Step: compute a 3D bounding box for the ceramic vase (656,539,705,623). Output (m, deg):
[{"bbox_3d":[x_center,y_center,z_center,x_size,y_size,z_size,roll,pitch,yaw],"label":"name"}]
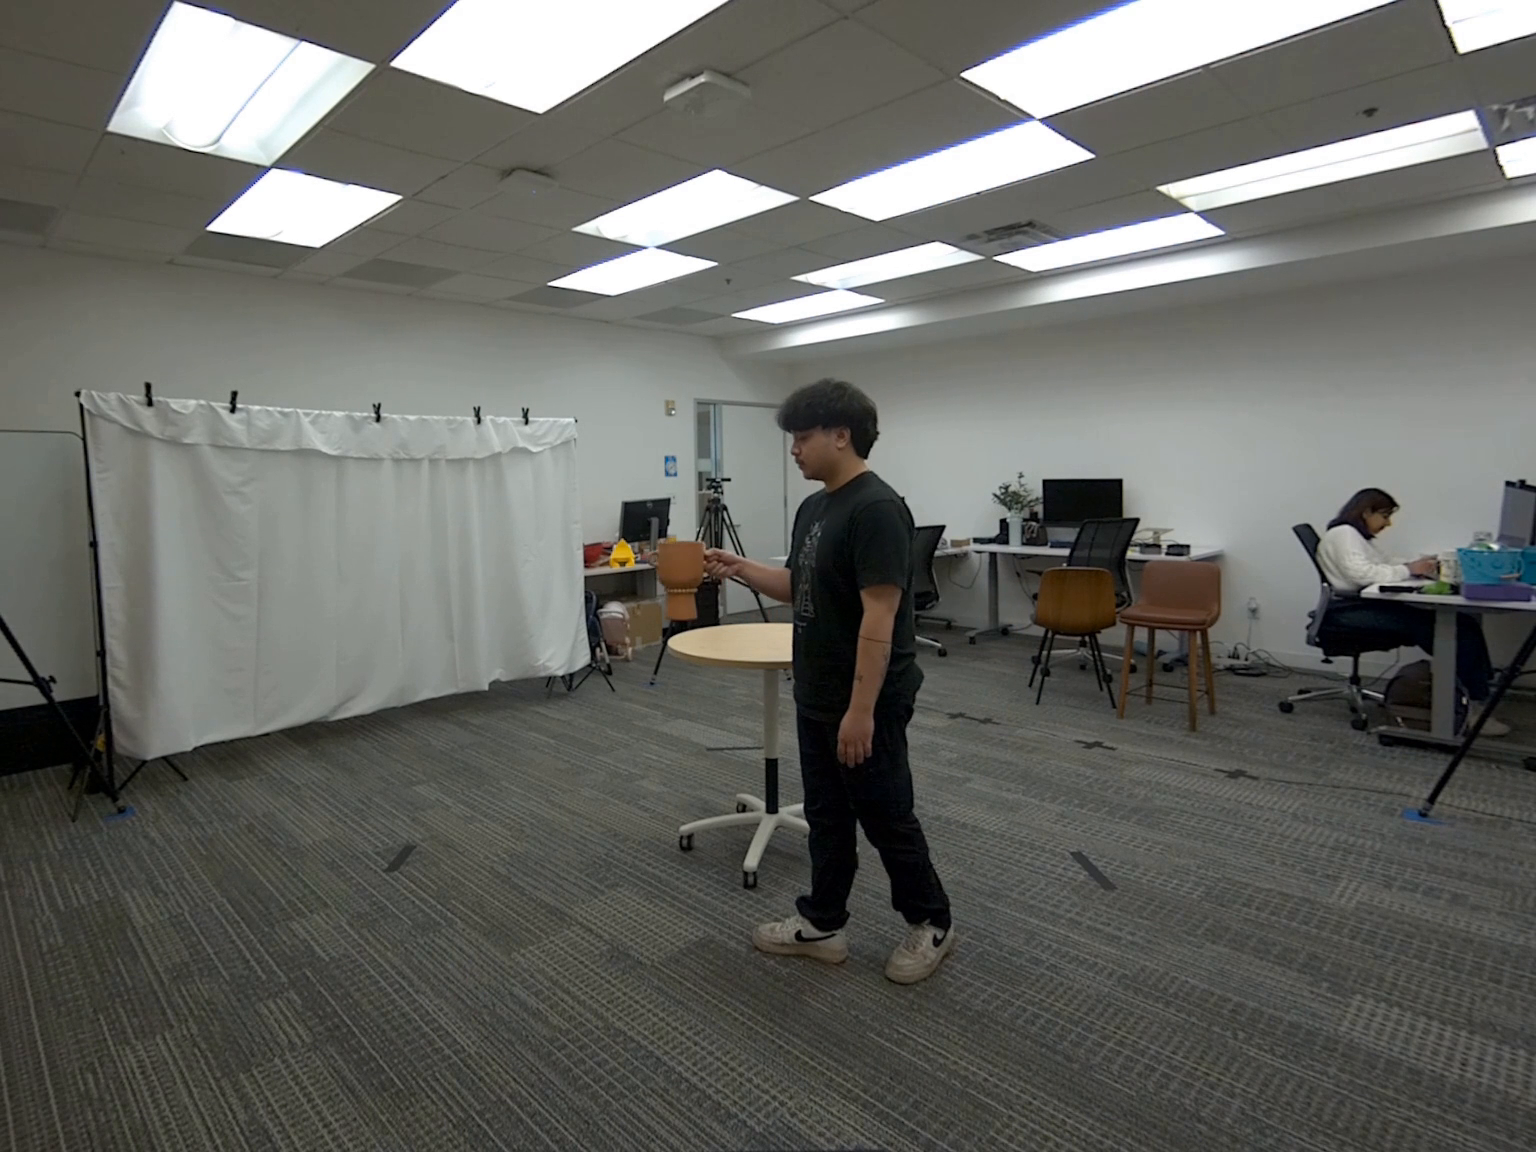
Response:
[{"bbox_3d":[-0.239,0.008,2.443,0.162,0.219,0.132,1,2,19],"label":"ceramic vase"}]
